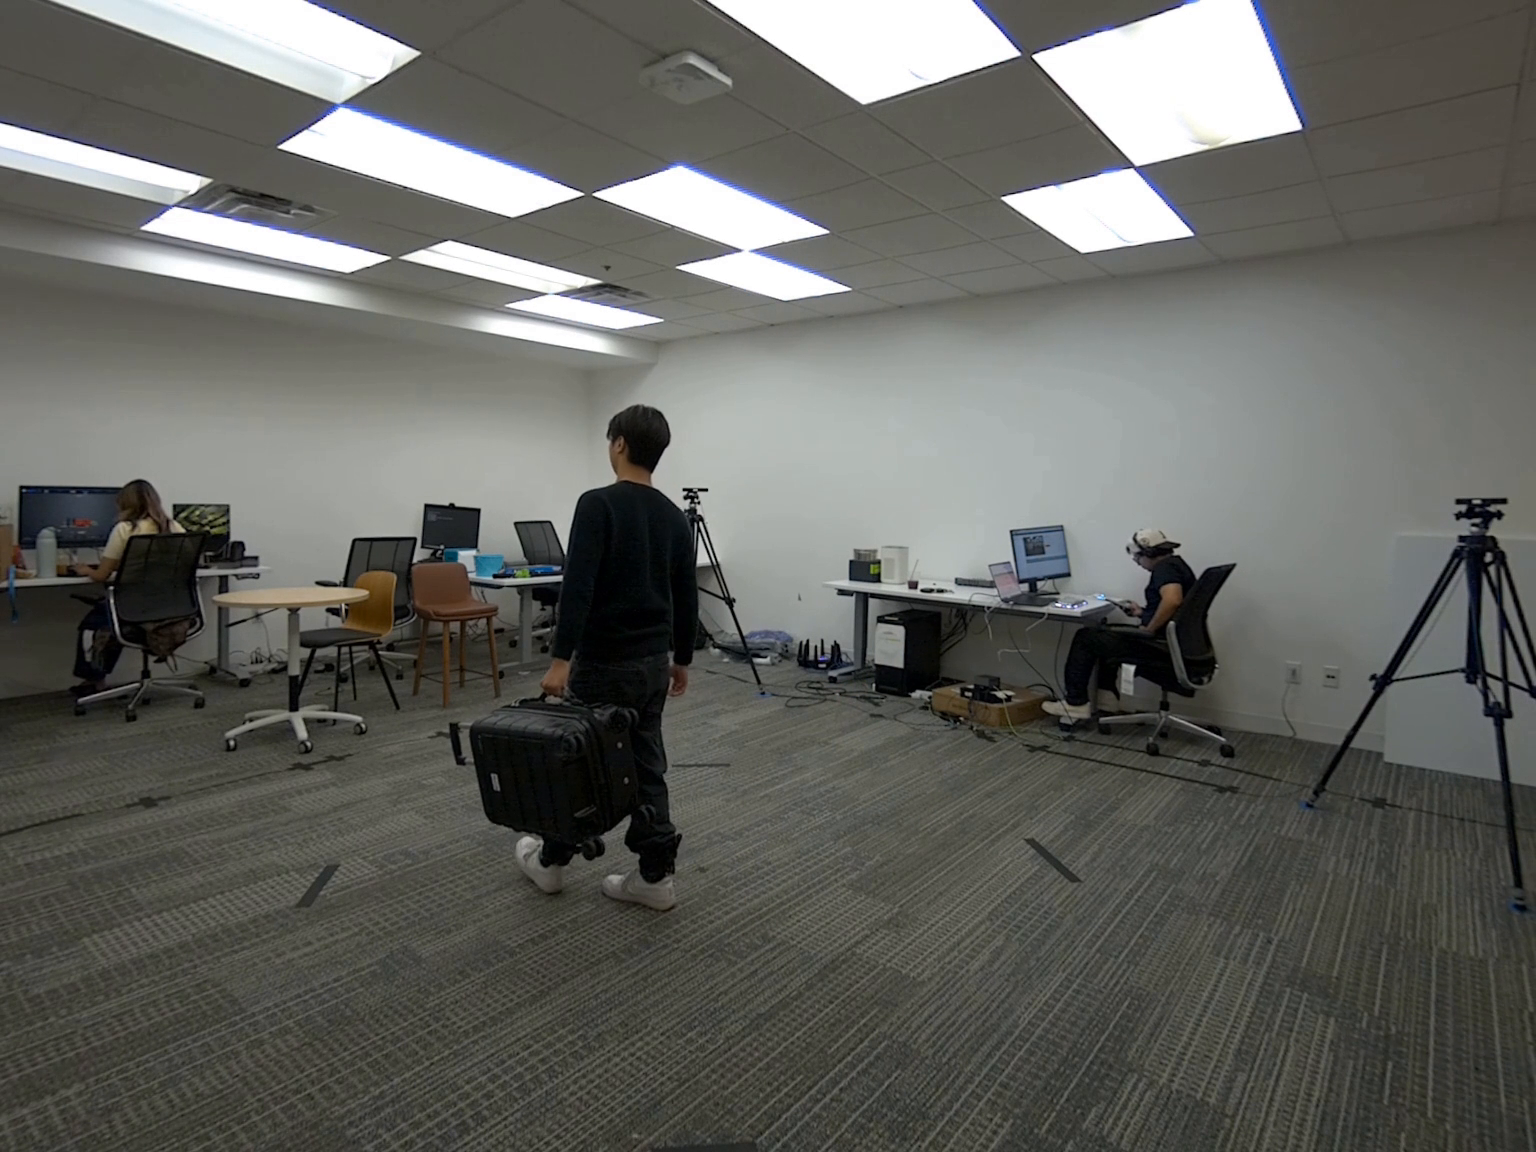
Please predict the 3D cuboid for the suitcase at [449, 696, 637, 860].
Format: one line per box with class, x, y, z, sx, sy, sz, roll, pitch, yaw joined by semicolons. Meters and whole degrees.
suitcase;-0.823;0.586;2.684;1.006;0.382;0.251;-4;7;38
